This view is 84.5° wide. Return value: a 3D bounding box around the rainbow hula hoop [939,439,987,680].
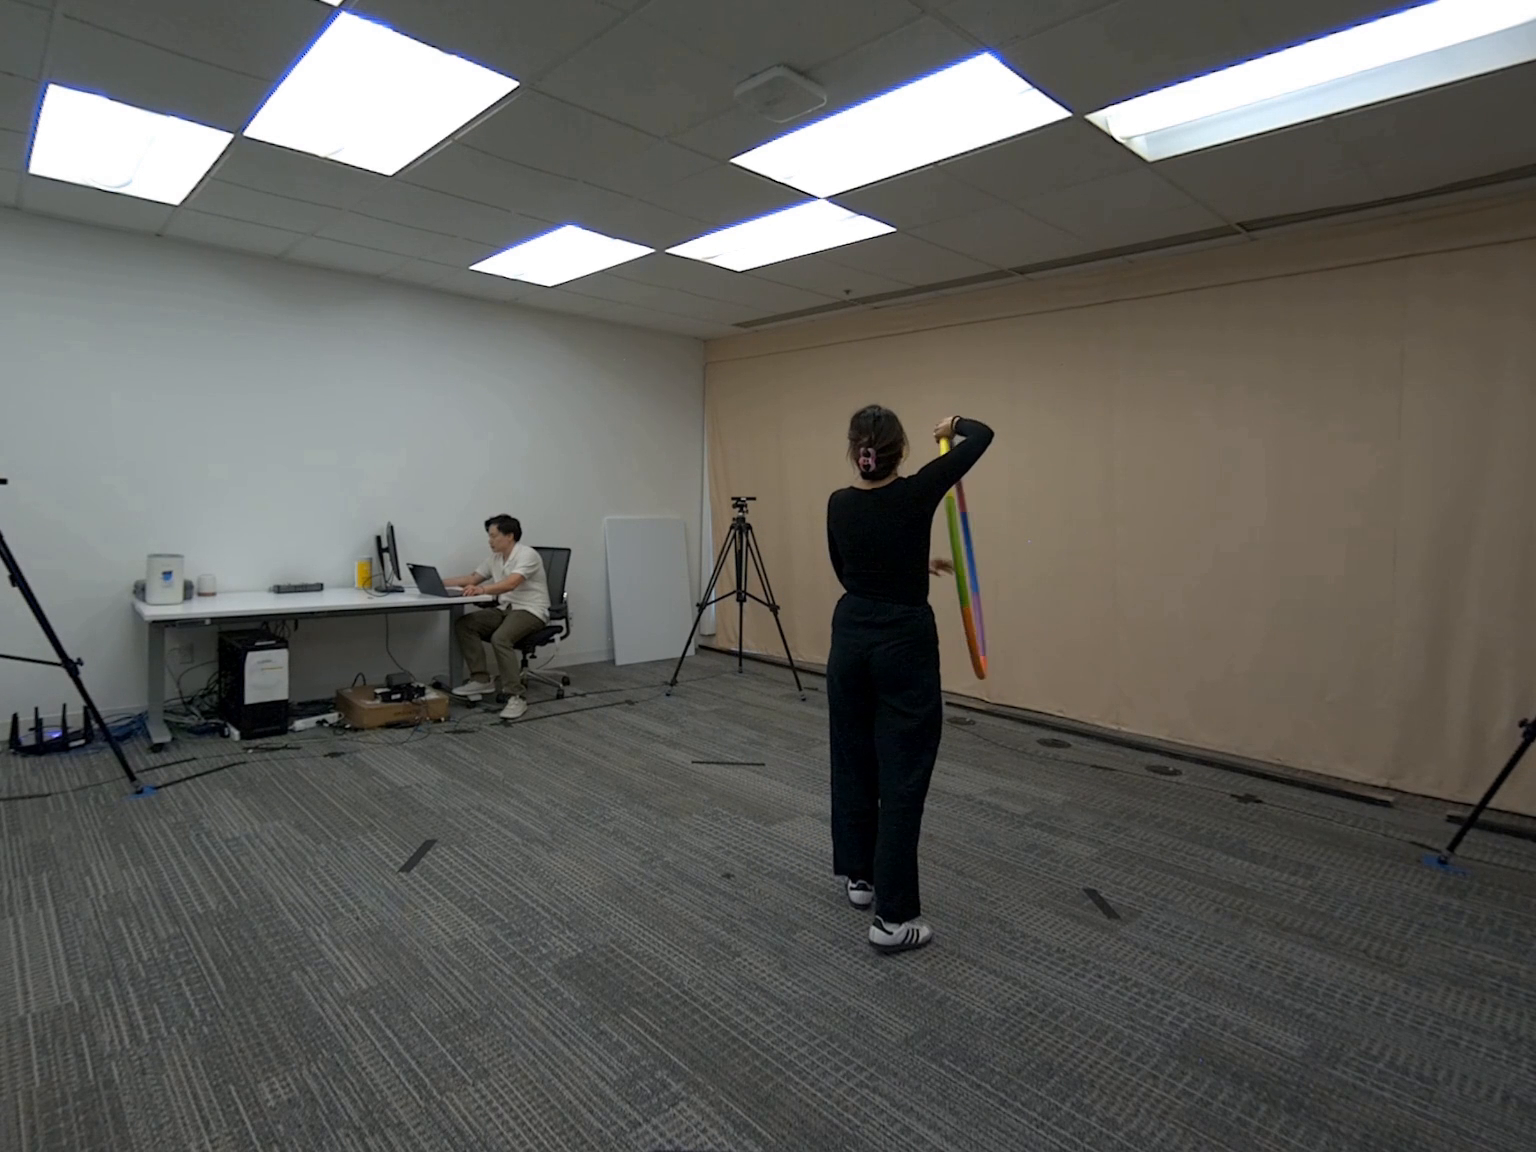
[{"bbox_3d":[0.771,-0.083,3.298,0.052,0.985,0.974,-9,1,16],"label":"rainbow hula hoop"}]
